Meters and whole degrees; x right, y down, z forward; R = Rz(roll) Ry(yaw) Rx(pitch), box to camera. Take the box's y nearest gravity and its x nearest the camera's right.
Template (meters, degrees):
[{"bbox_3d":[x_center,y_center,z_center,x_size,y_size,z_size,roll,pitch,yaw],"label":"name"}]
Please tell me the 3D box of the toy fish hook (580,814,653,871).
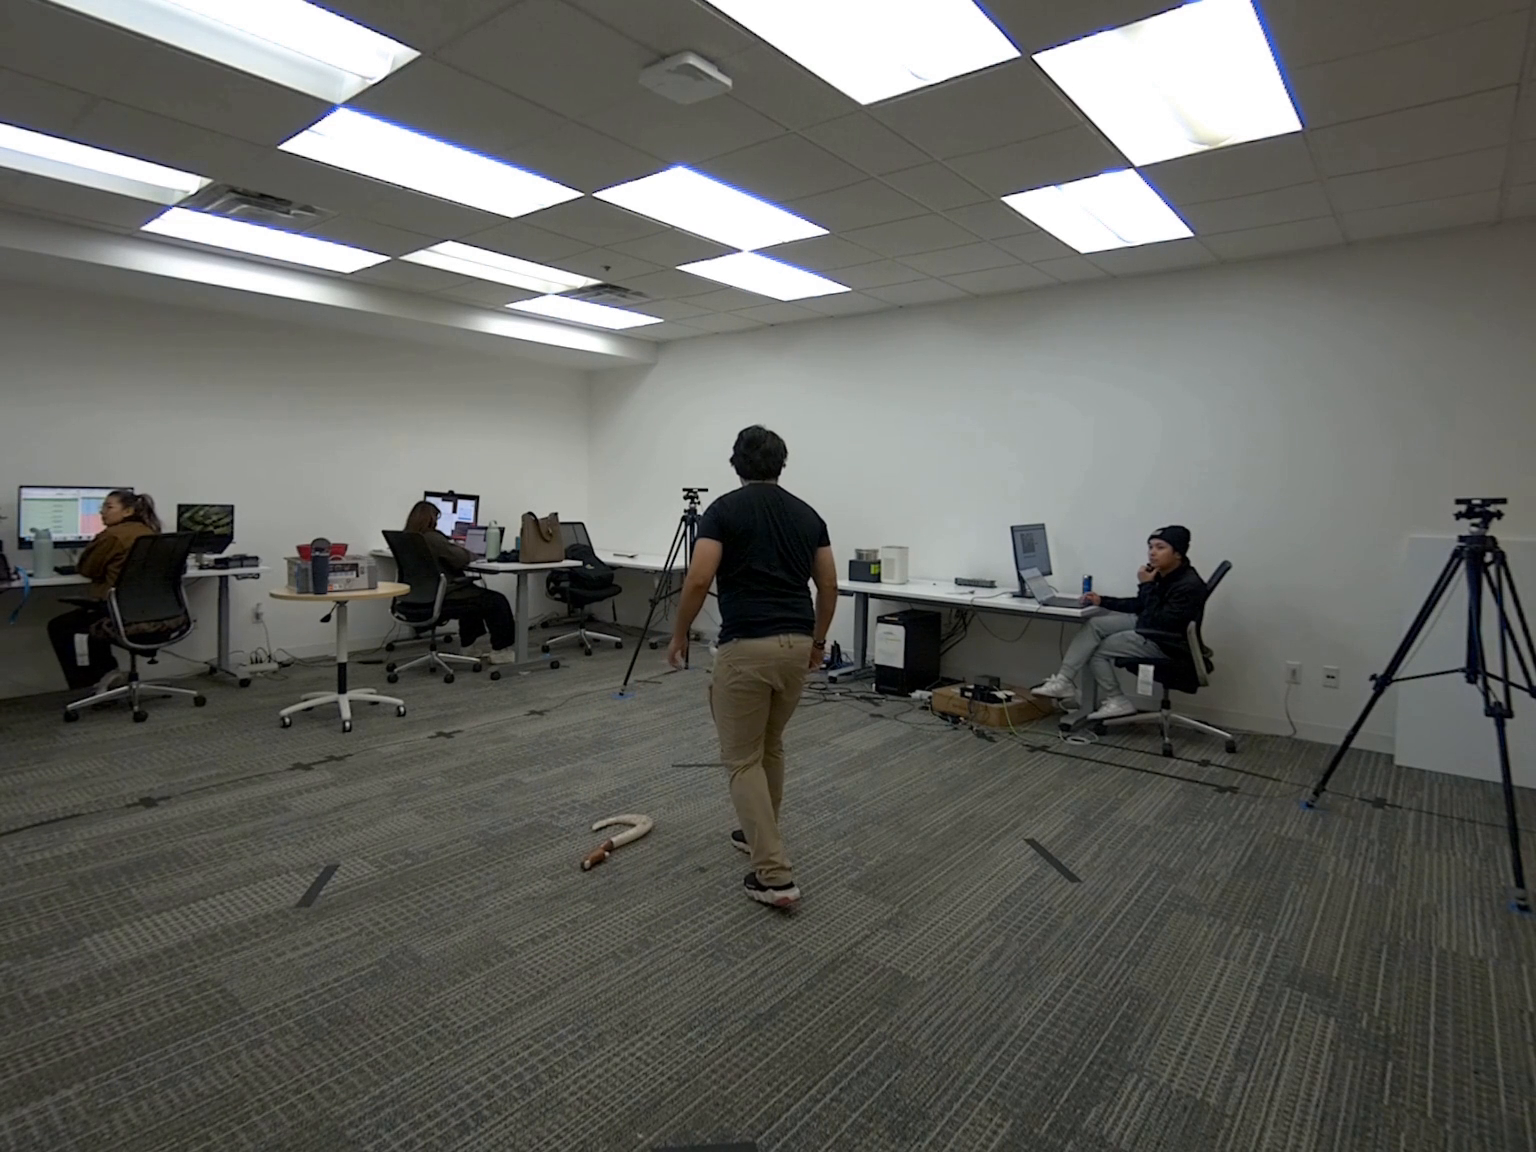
[{"bbox_3d":[-0.640,1.023,3.320,0.229,0.048,0.496,-3,2,21],"label":"toy fish hook"}]
